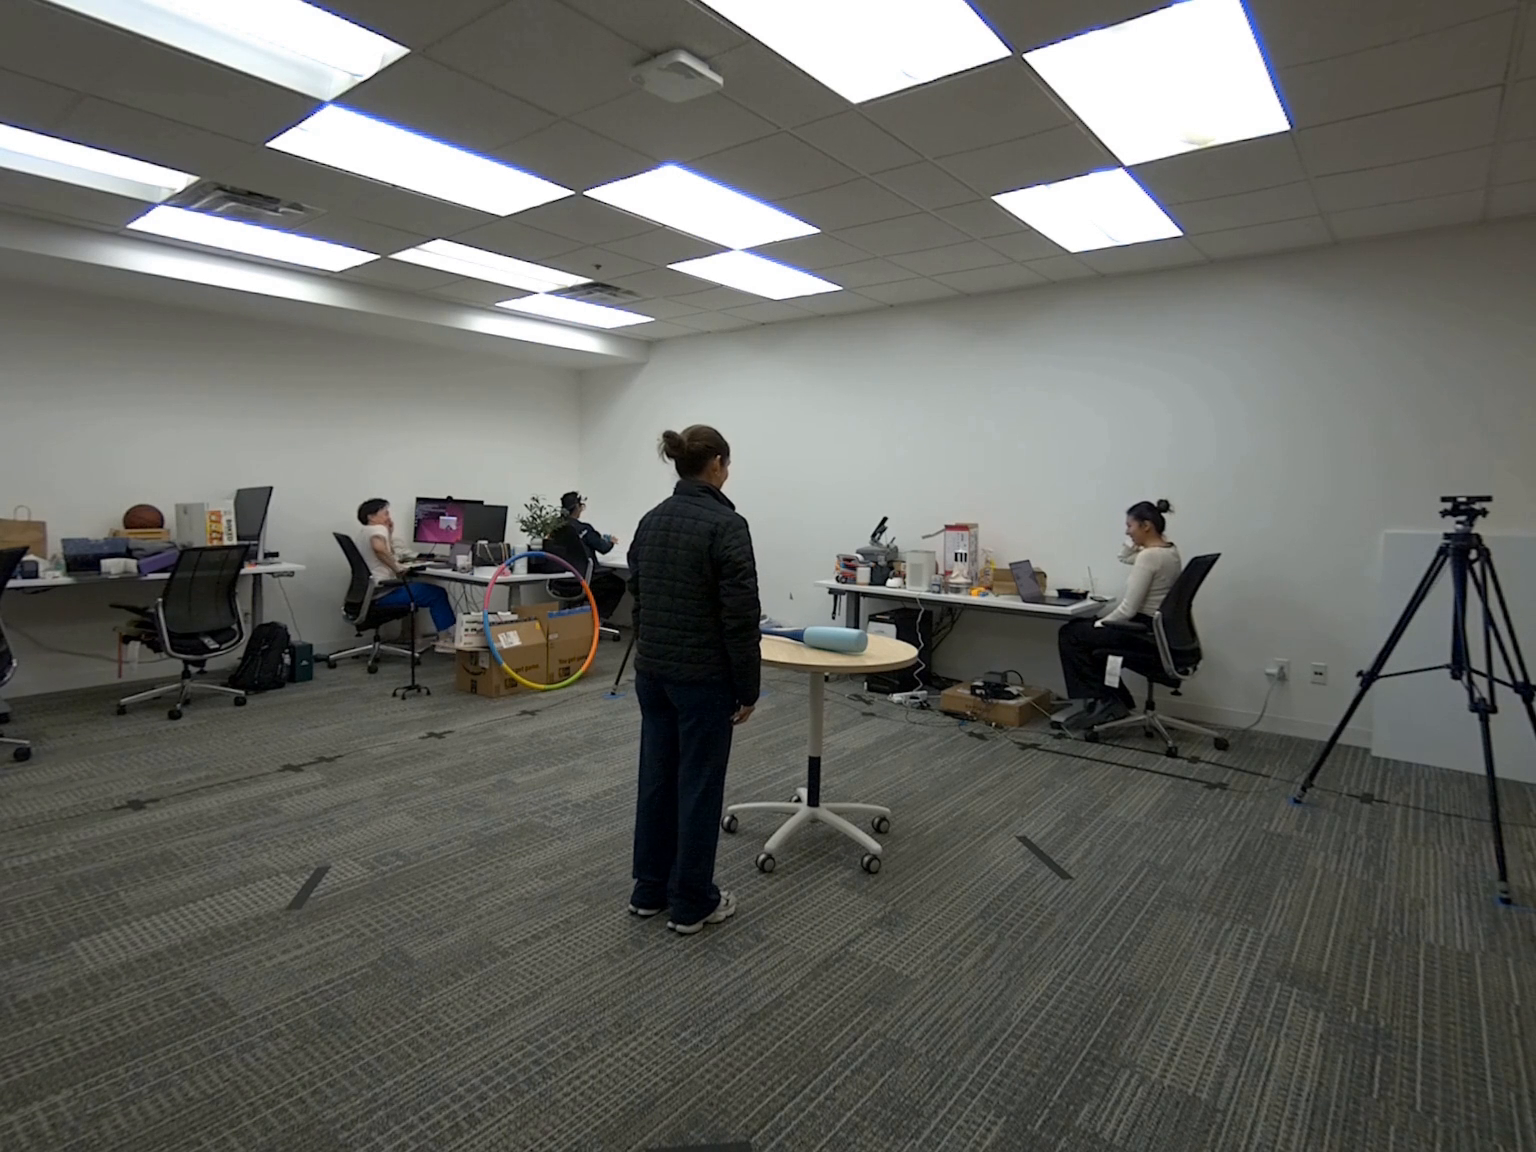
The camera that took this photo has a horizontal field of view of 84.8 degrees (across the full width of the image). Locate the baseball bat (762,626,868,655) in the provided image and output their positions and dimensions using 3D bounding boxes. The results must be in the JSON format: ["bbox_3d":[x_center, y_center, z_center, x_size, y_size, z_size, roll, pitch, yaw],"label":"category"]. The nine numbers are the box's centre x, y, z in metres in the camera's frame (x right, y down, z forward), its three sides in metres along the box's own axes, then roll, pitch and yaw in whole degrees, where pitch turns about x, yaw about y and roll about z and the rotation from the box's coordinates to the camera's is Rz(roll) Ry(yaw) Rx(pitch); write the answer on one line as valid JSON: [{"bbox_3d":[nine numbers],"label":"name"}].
[{"bbox_3d":[0.157,0.231,3.329,0.561,0.089,0.086,2,4,41],"label":"baseball bat"}]
